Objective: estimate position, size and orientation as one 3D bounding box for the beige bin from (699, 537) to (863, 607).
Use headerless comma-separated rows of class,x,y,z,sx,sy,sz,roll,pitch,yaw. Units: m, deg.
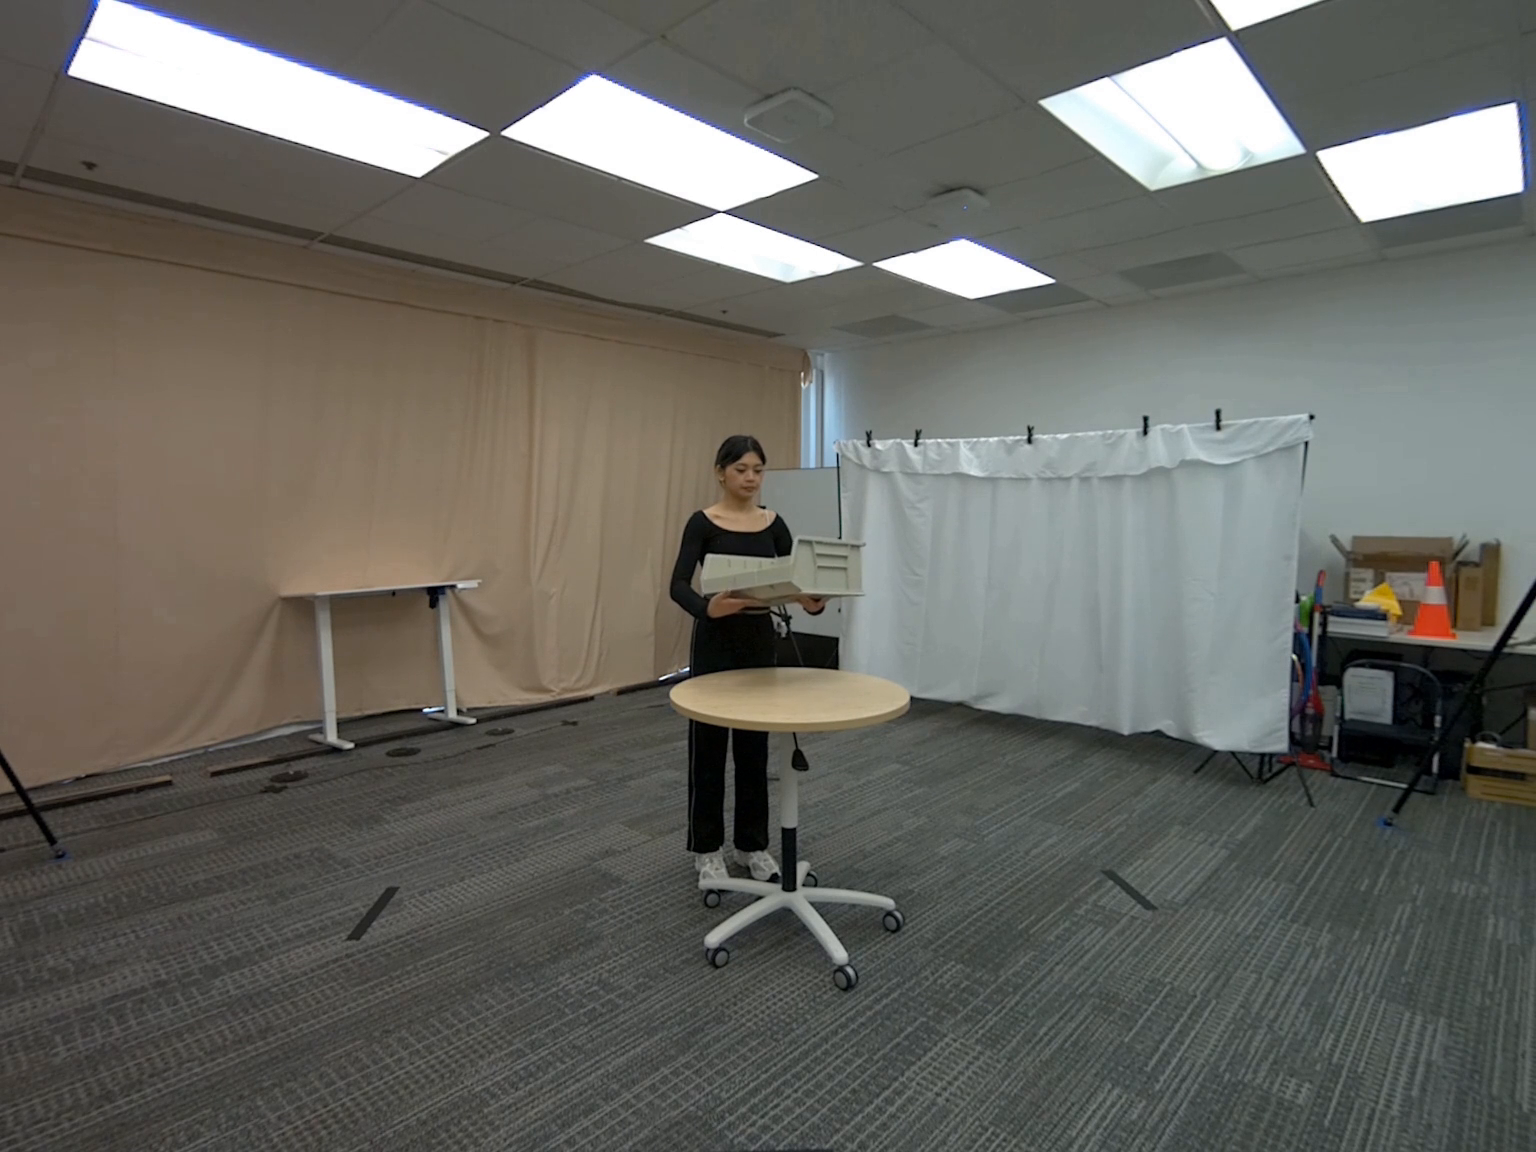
beige bin,0.054,-0.004,2.828,0.365,0.190,0.434,6,-11,-43
